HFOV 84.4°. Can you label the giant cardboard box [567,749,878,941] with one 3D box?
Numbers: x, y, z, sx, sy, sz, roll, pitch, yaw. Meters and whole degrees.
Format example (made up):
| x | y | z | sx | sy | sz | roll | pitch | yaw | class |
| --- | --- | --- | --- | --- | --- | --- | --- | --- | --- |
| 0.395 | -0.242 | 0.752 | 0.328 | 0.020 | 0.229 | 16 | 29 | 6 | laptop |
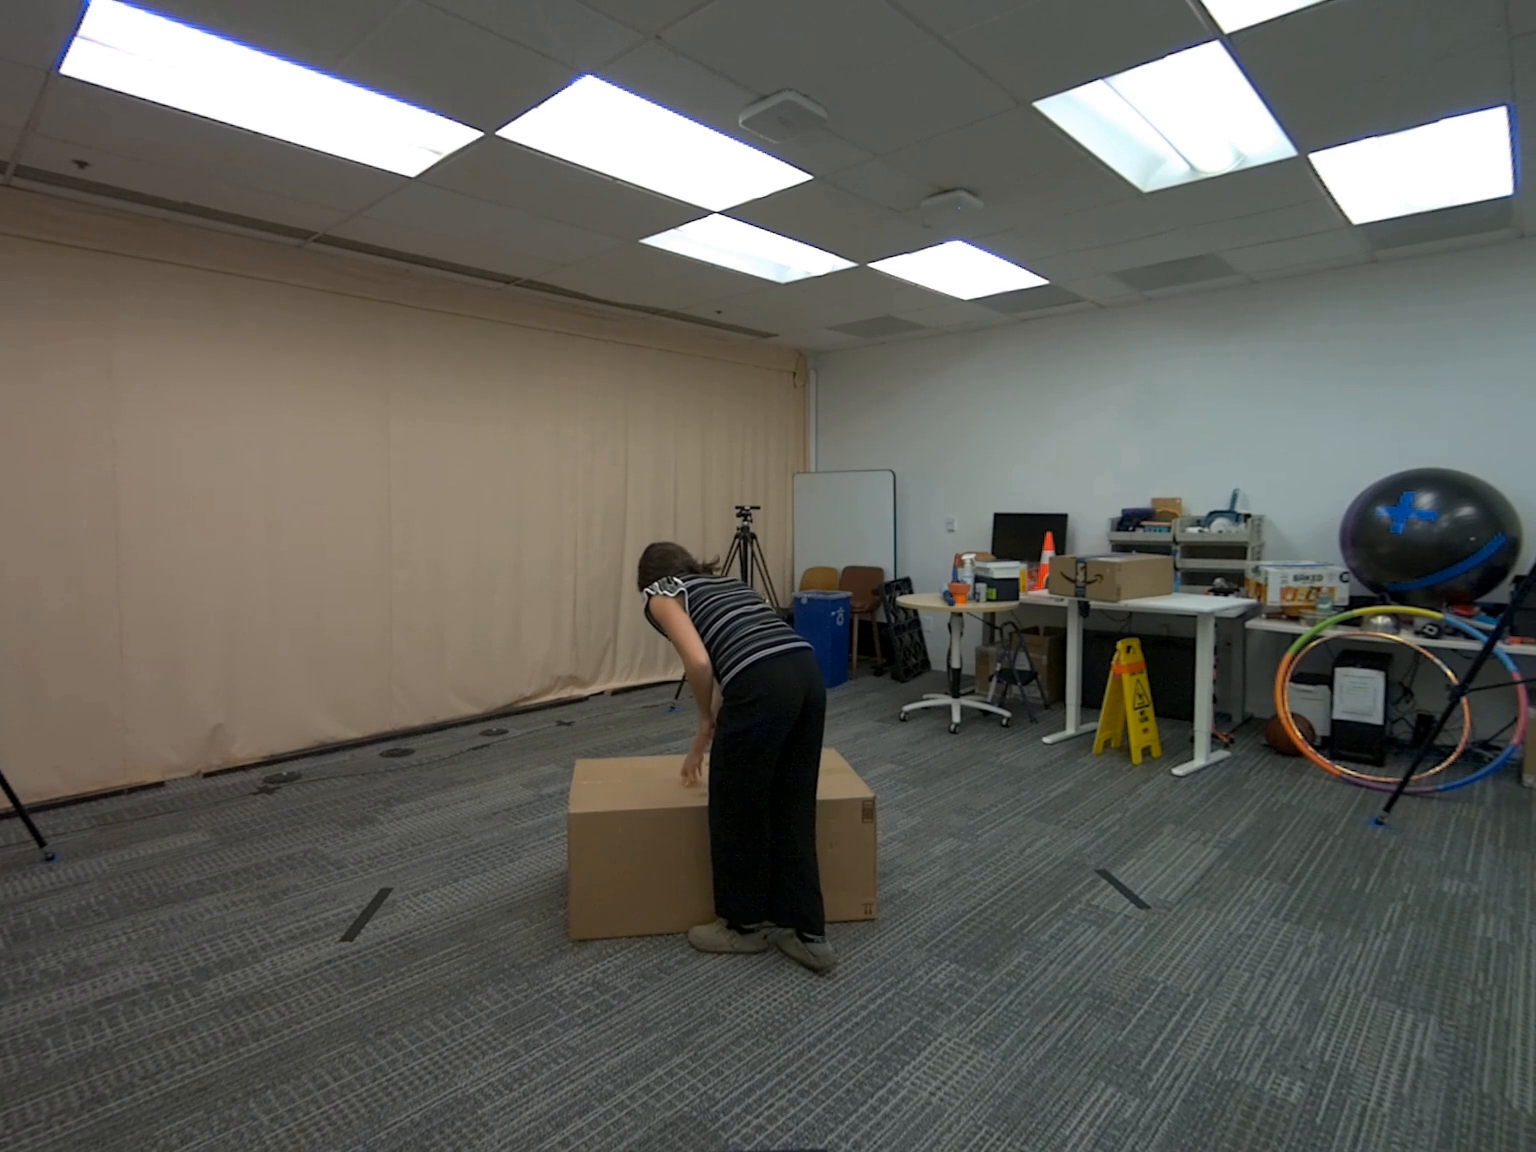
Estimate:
| x | y | z | sx | sy | sz | roll | pitch | yaw | class |
| --- | --- | --- | --- | --- | --- | --- | --- | --- | --- |
| -0.188 | 0.930 | 3.034 | 1.017 | 0.425 | 0.584 | -1 | 5 | -8 | giant cardboard box |
